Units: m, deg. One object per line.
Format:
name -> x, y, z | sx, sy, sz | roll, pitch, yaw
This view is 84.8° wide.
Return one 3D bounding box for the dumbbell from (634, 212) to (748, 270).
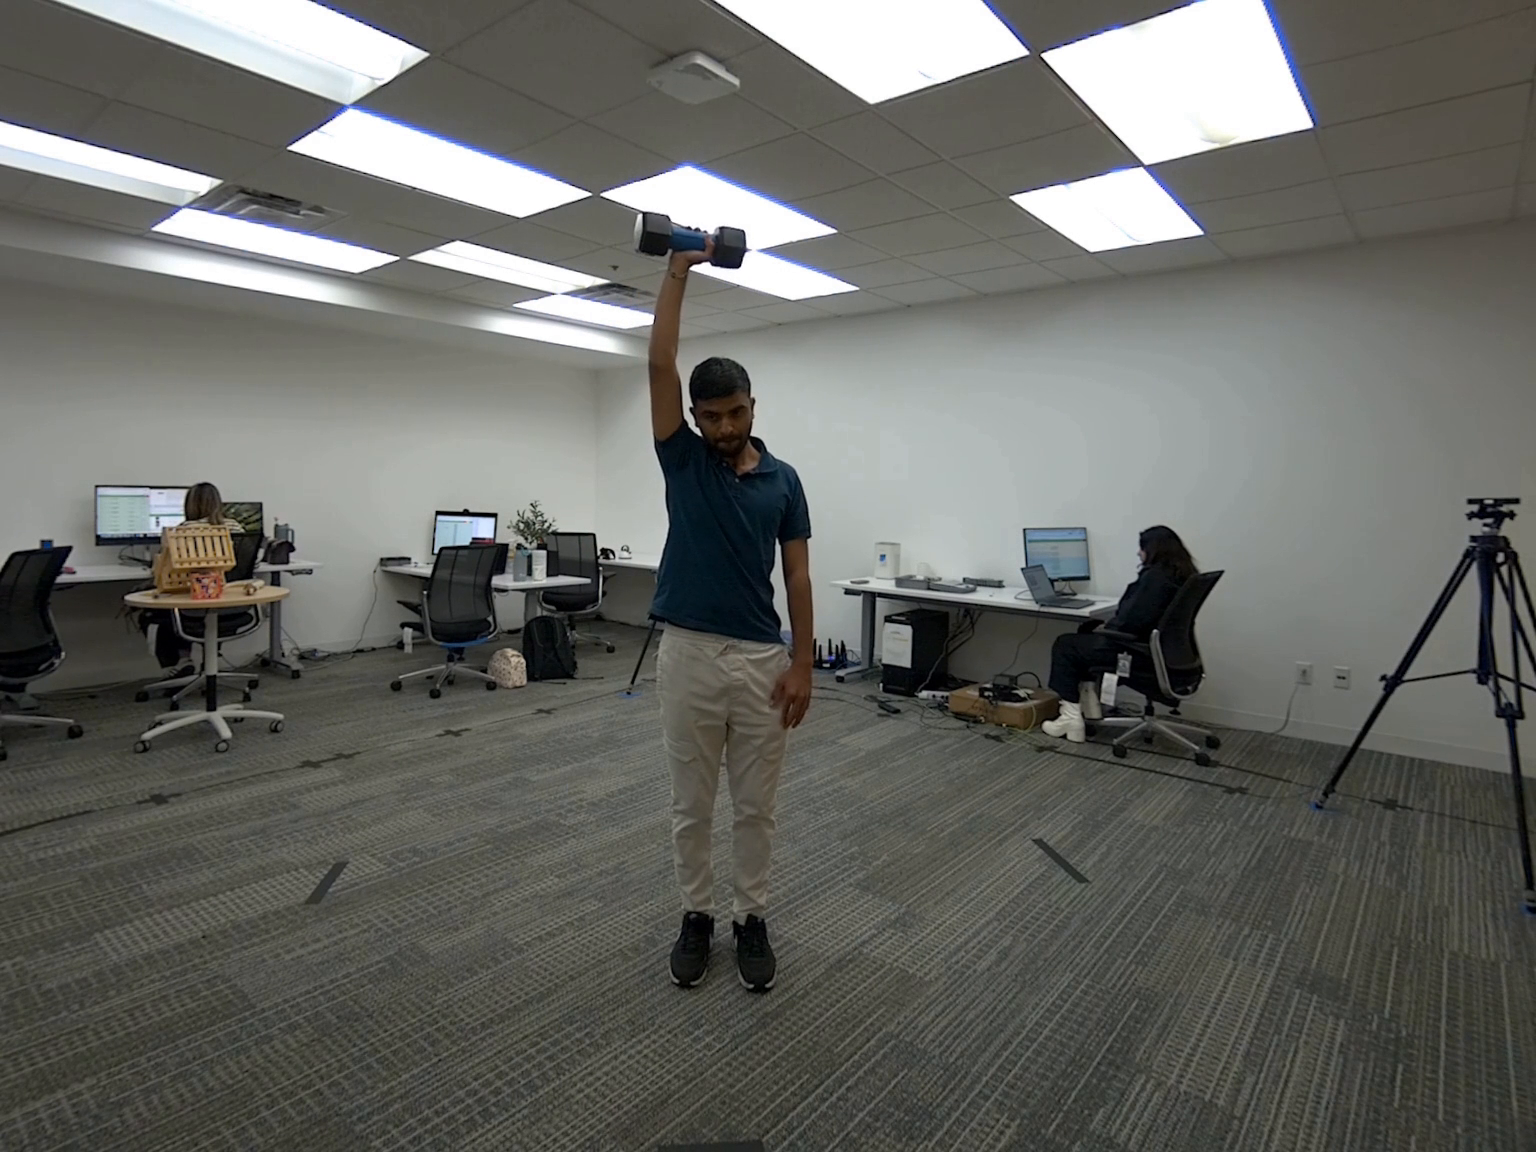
dumbbell -> -0.222, -0.903, 2.289 | 0.288, 0.107, 0.126 | 4, 15, -16
